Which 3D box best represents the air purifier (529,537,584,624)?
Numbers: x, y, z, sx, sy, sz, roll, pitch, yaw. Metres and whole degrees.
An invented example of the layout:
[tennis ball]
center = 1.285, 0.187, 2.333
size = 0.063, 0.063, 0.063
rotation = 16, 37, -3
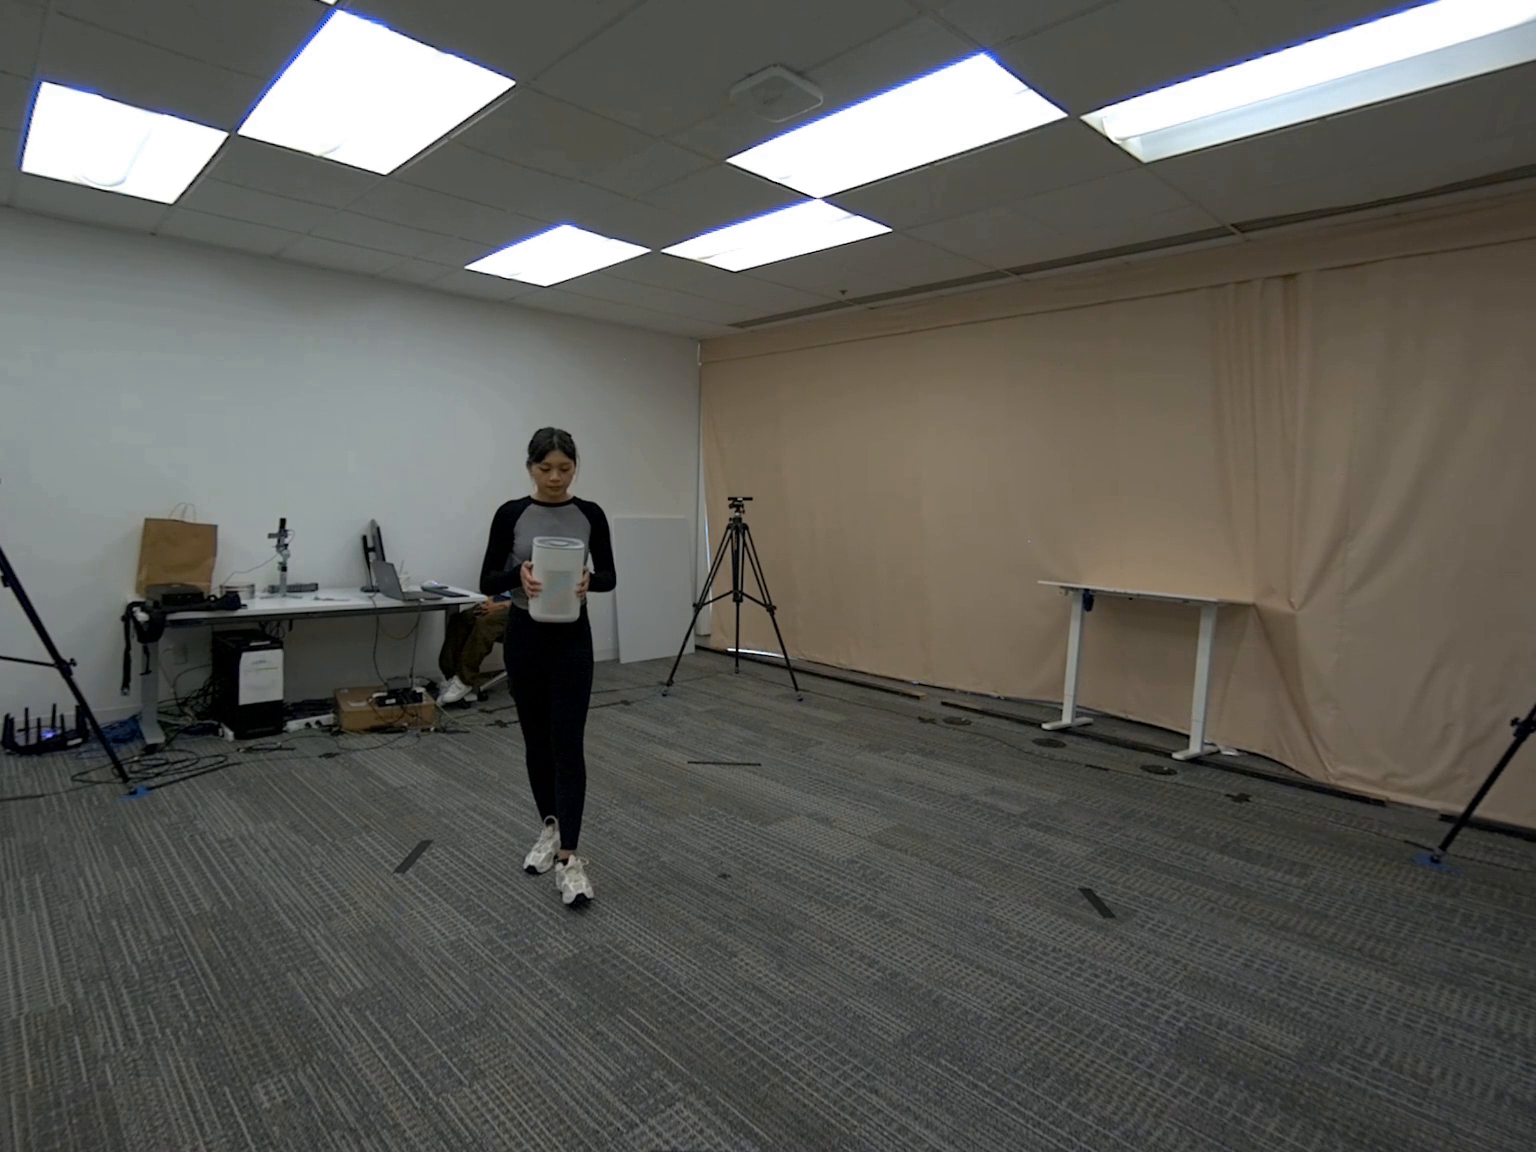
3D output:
[air purifier]
center = -0.750, 0.012, 2.874
size = 0.170, 0.264, 0.174
rotation = 3, 9, -14
